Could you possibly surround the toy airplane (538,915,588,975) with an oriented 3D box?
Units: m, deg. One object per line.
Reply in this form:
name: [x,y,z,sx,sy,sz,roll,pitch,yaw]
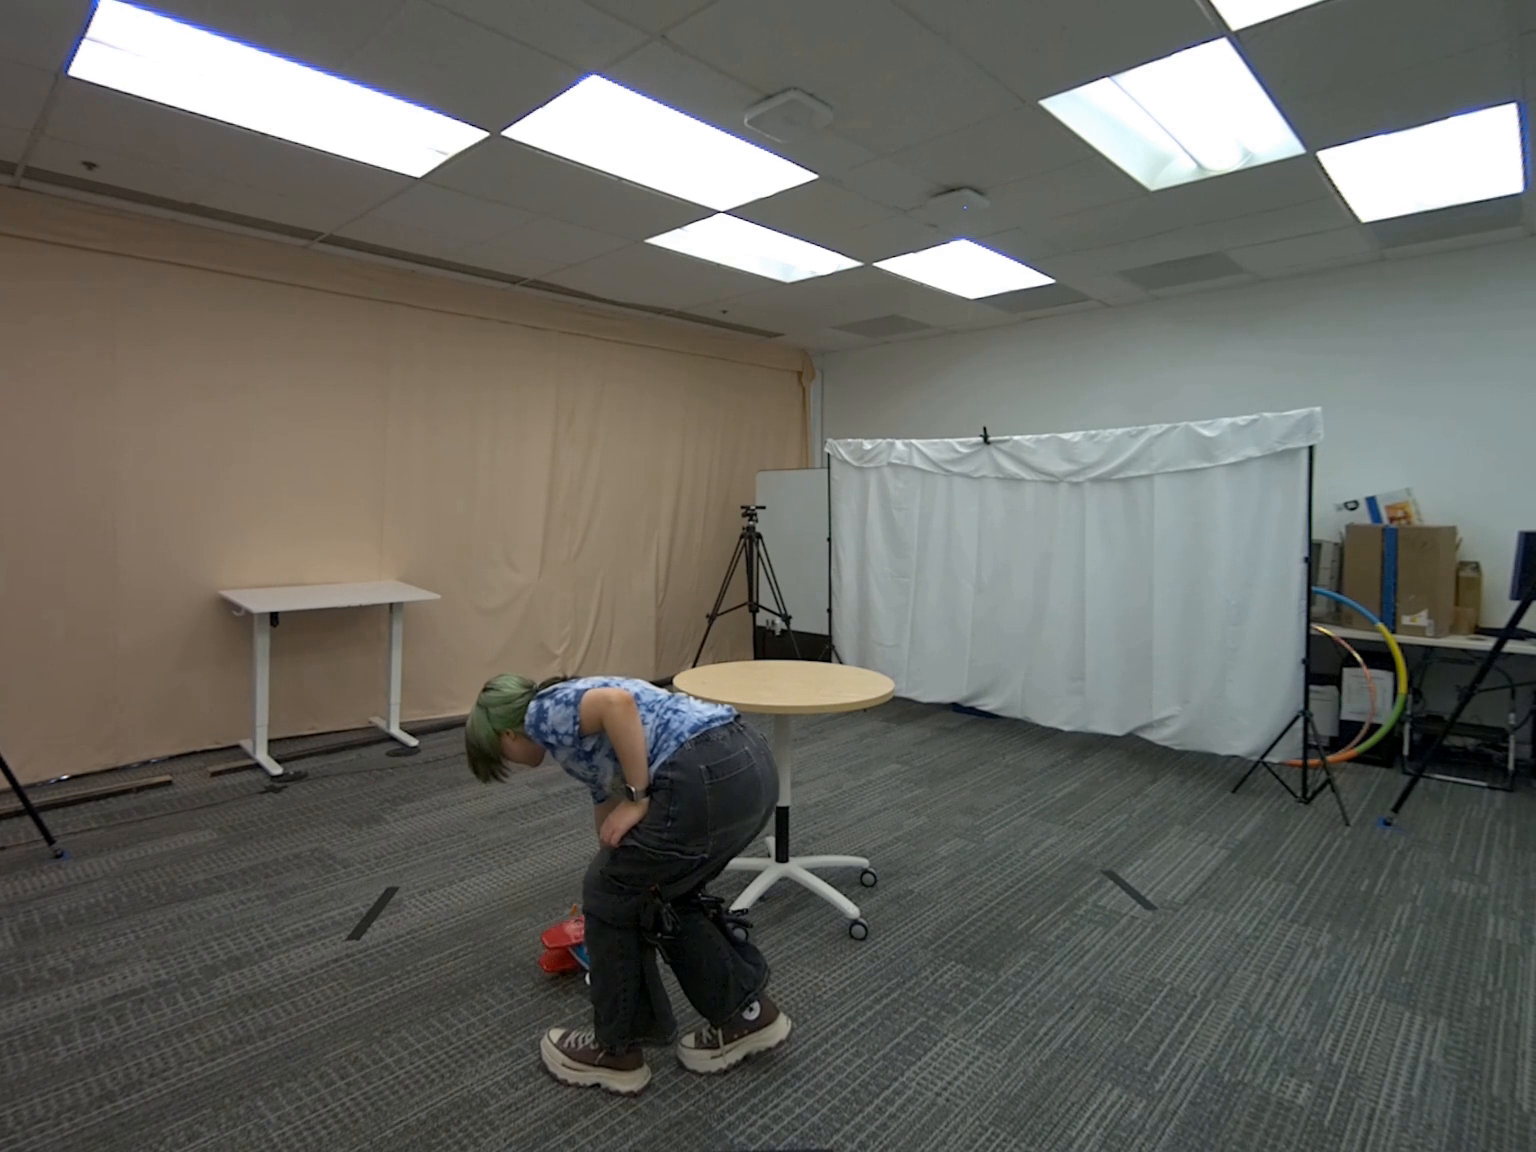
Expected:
toy airplane: [-0.522,1.113,2.495,0.265,0.156,0.246,-1,3,20]
